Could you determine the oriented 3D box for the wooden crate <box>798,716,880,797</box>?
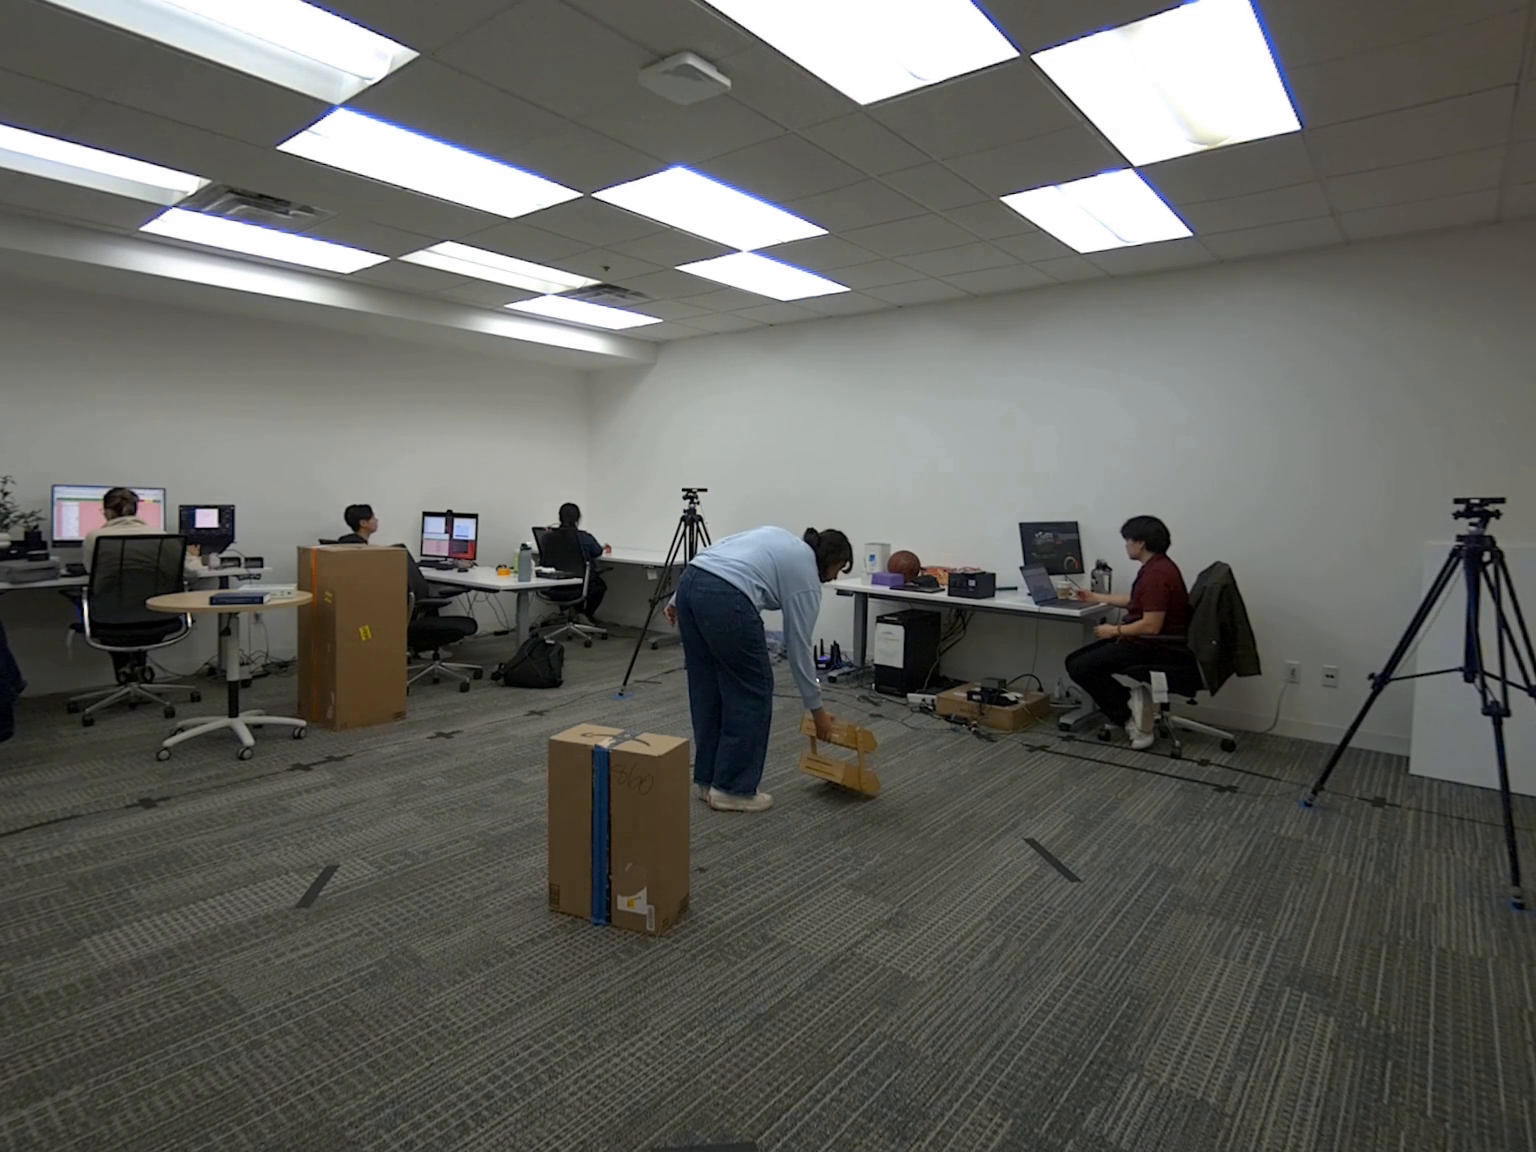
[{"bbox_3d":[0.330,0.821,3.946,0.290,0.275,0.334,25,-15,-37],"label":"wooden crate"}]
